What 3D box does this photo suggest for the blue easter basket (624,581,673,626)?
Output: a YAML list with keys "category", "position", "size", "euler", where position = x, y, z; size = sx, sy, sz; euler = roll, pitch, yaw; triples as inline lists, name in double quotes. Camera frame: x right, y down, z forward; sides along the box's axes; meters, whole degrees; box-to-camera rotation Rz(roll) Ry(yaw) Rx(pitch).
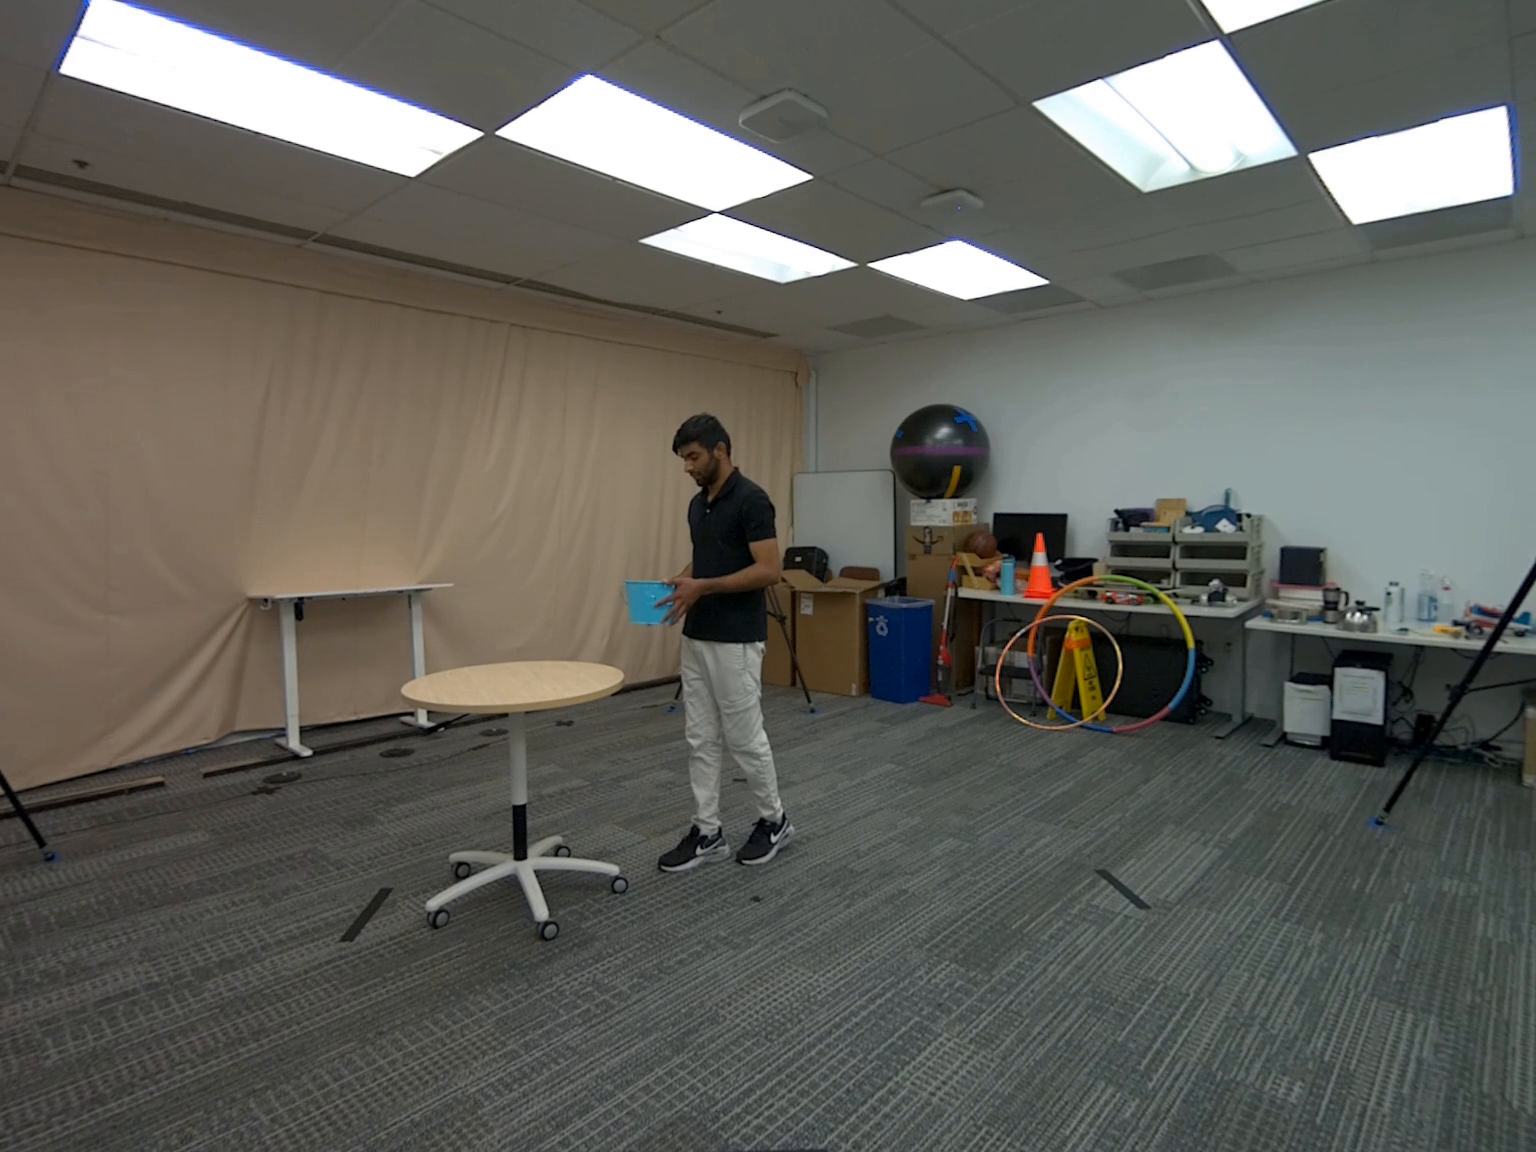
- category: "blue easter basket"
  position: [-0.417, 0.098, 3.148]
  size: [0.243, 0.156, 0.244]
  euler: [1, 0, -2]
